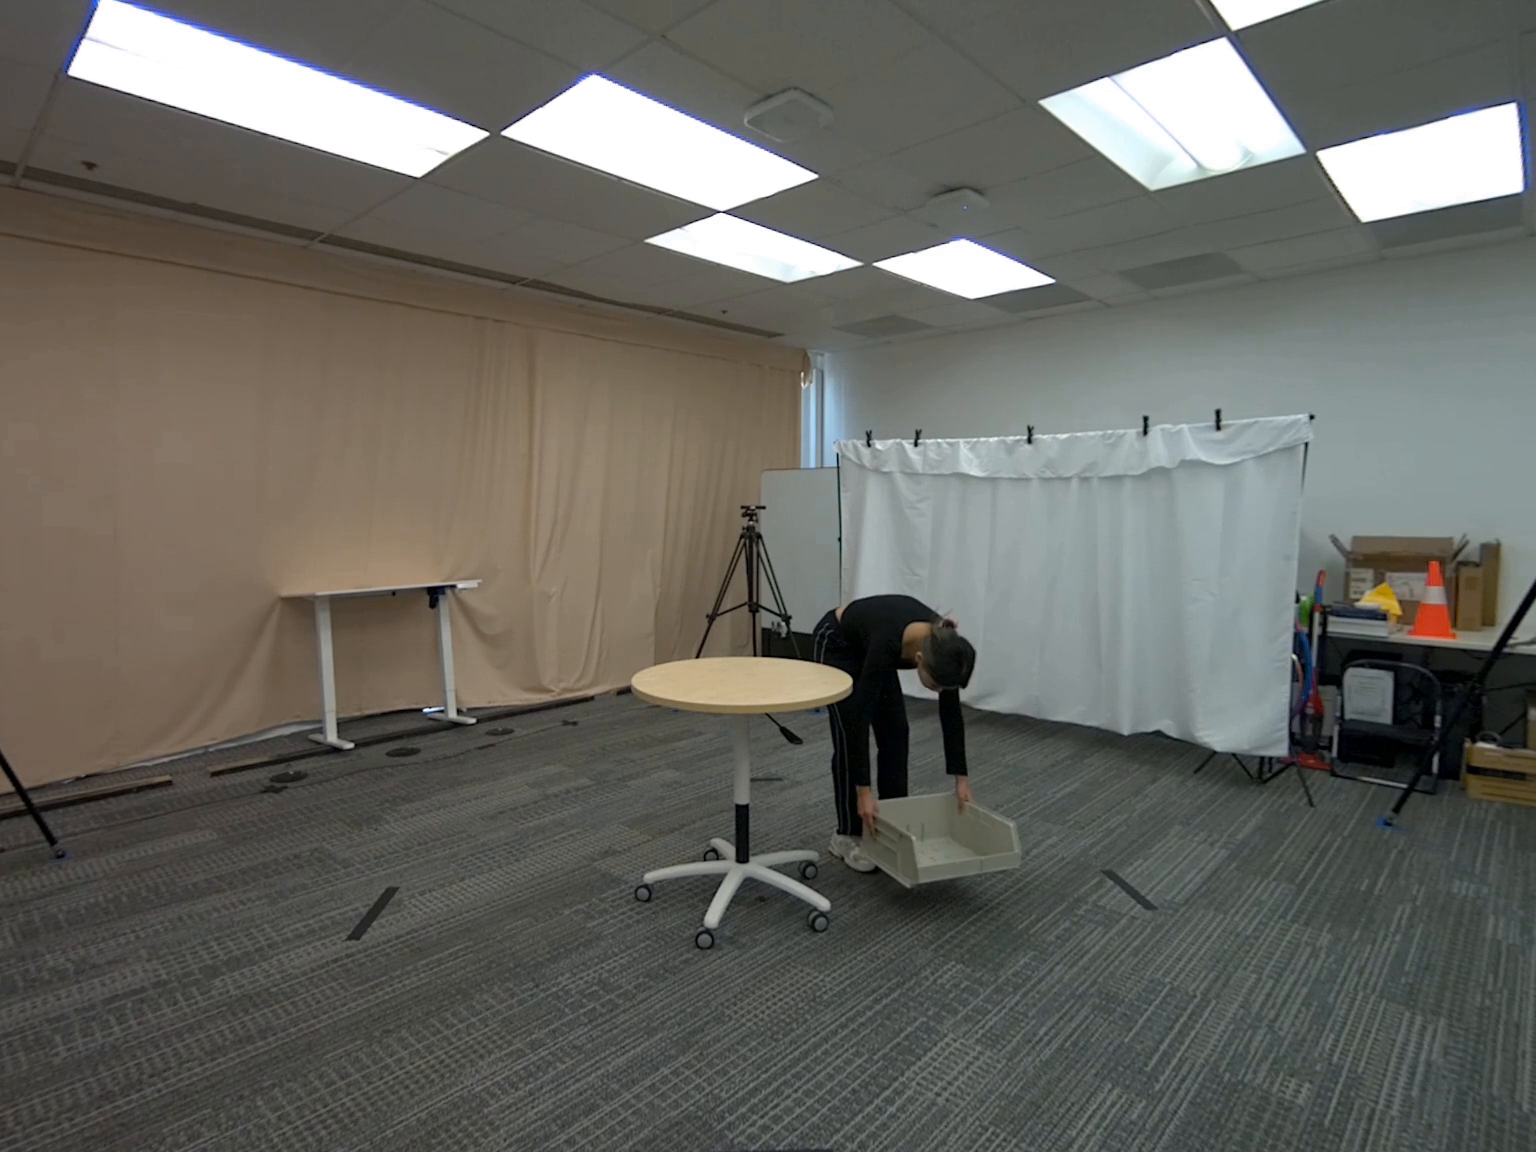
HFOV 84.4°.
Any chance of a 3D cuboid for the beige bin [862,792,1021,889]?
[{"bbox_3d":[0.601,0.926,2.953,0.413,0.189,0.386,-1,3,-23],"label":"beige bin"}]
